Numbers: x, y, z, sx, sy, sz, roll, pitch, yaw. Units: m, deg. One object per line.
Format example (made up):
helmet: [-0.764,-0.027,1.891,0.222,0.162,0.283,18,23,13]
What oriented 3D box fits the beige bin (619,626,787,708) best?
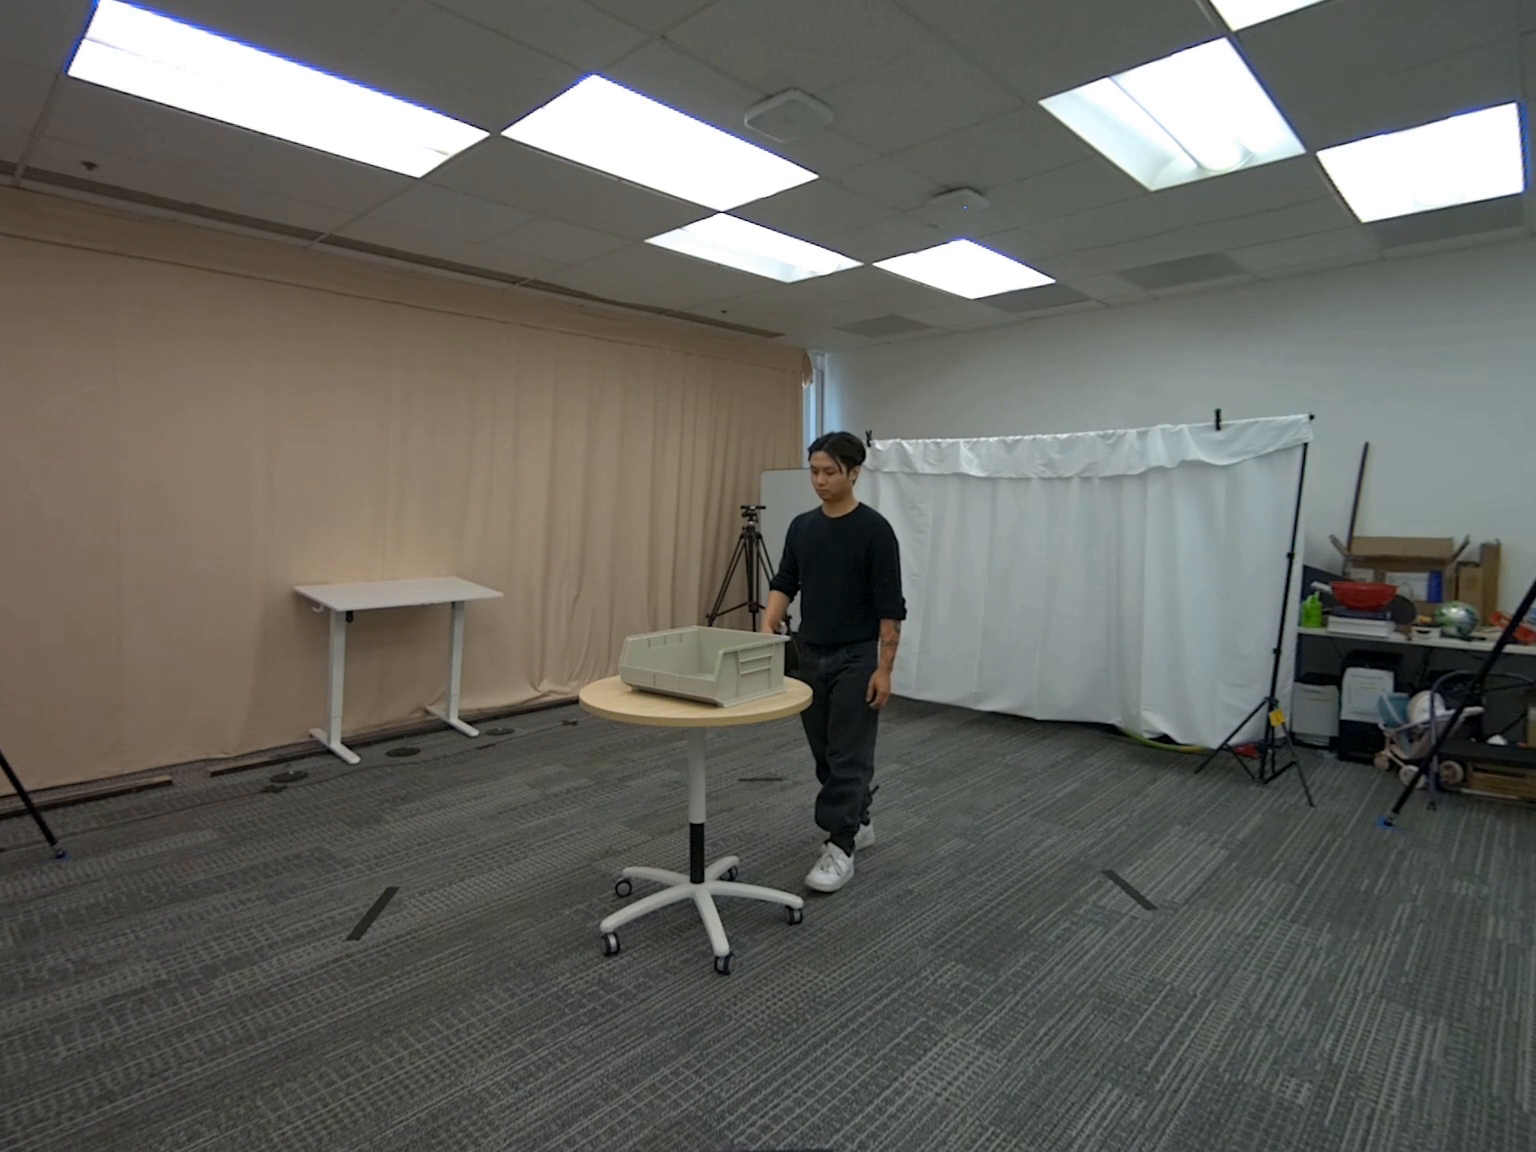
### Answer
beige bin: [-0.202,0.289,2.754,0.436,0.189,0.366,2,4,38]
